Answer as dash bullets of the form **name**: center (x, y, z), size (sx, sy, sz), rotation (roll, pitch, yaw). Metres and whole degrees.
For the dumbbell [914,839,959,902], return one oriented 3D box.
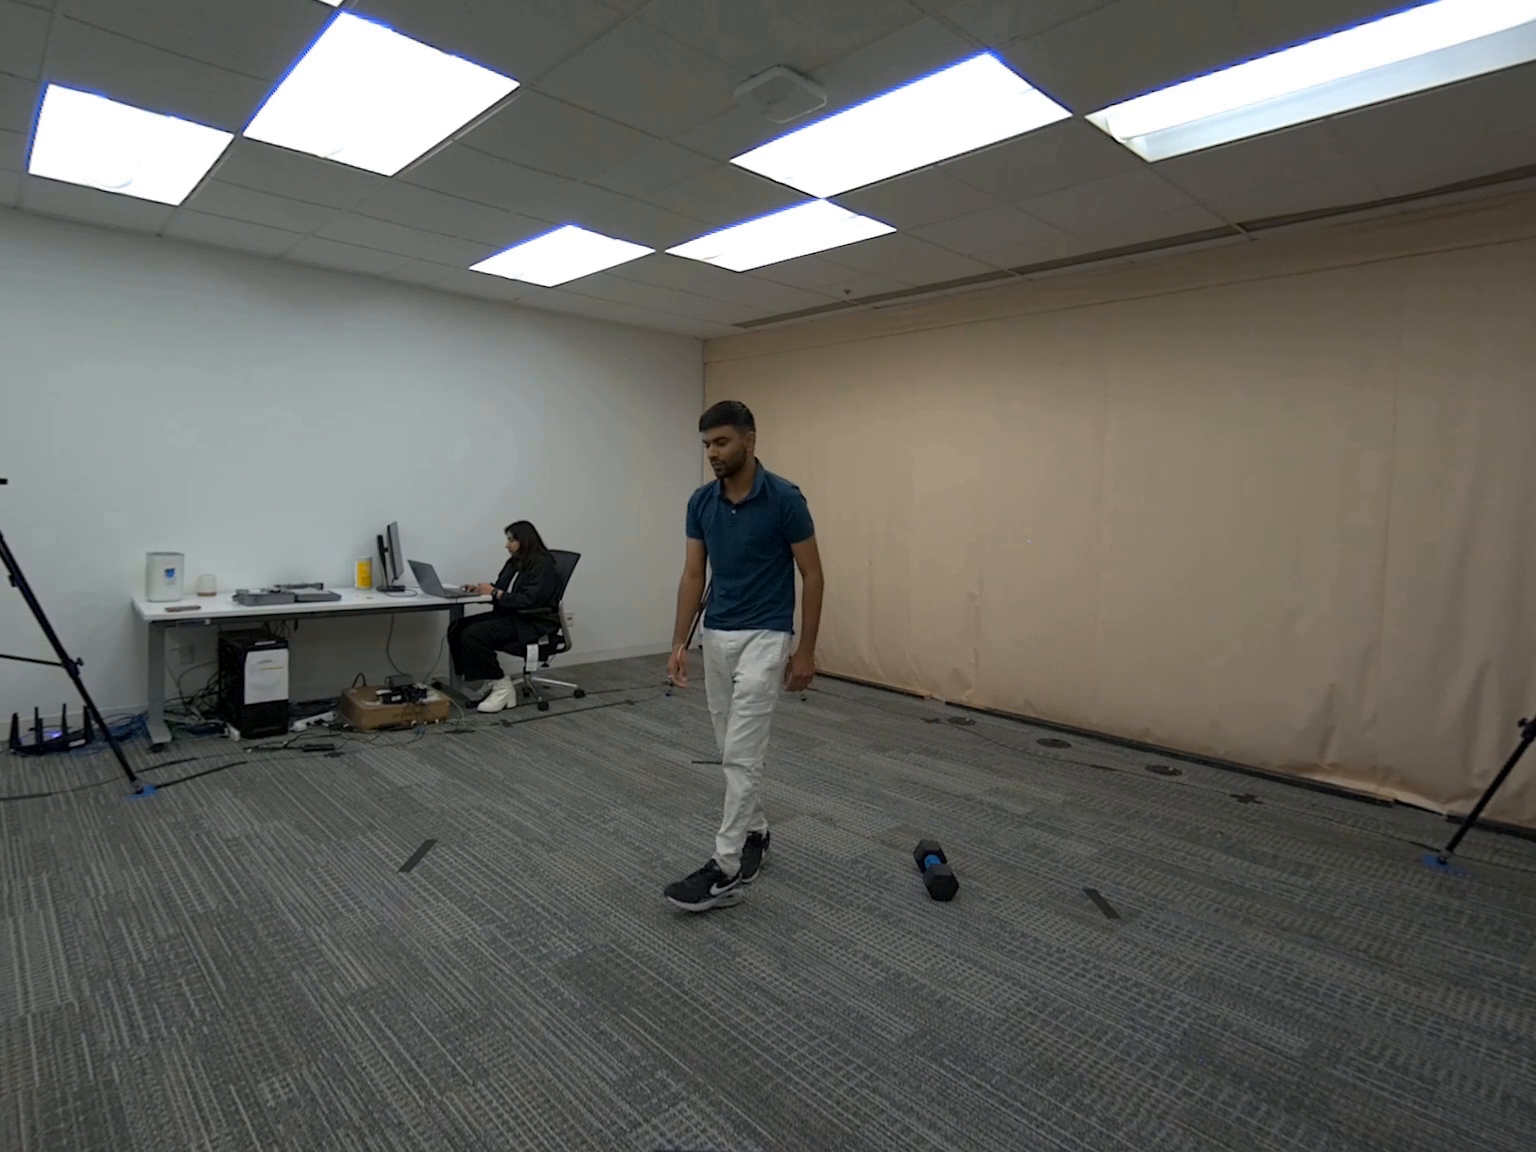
- **dumbbell**: center (0.606, 1.082, 3.080), size (0.109, 0.122, 0.294), rotation (-29, 4, 1)
